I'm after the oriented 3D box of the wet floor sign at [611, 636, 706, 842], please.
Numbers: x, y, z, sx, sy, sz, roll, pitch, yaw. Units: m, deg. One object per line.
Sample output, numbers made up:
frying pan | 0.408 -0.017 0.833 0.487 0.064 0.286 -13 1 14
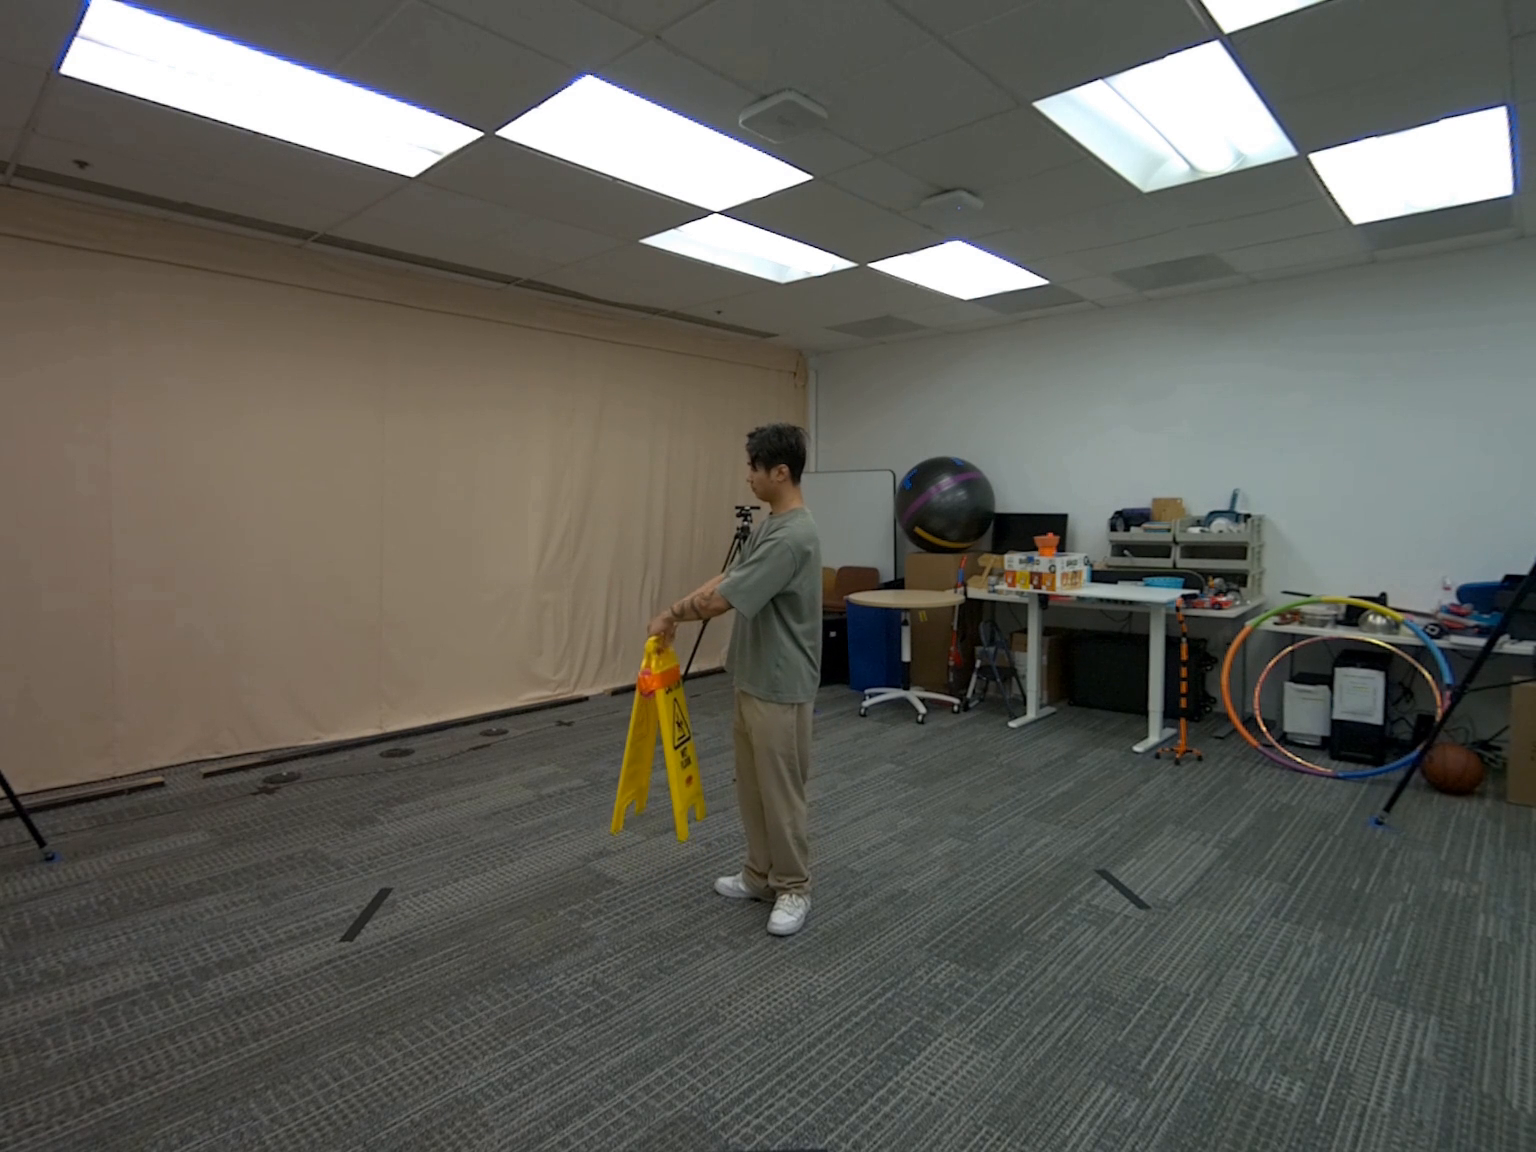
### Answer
wet floor sign | -0.362 0.531 2.852 0.294 0.645 0.278 0 2 13
